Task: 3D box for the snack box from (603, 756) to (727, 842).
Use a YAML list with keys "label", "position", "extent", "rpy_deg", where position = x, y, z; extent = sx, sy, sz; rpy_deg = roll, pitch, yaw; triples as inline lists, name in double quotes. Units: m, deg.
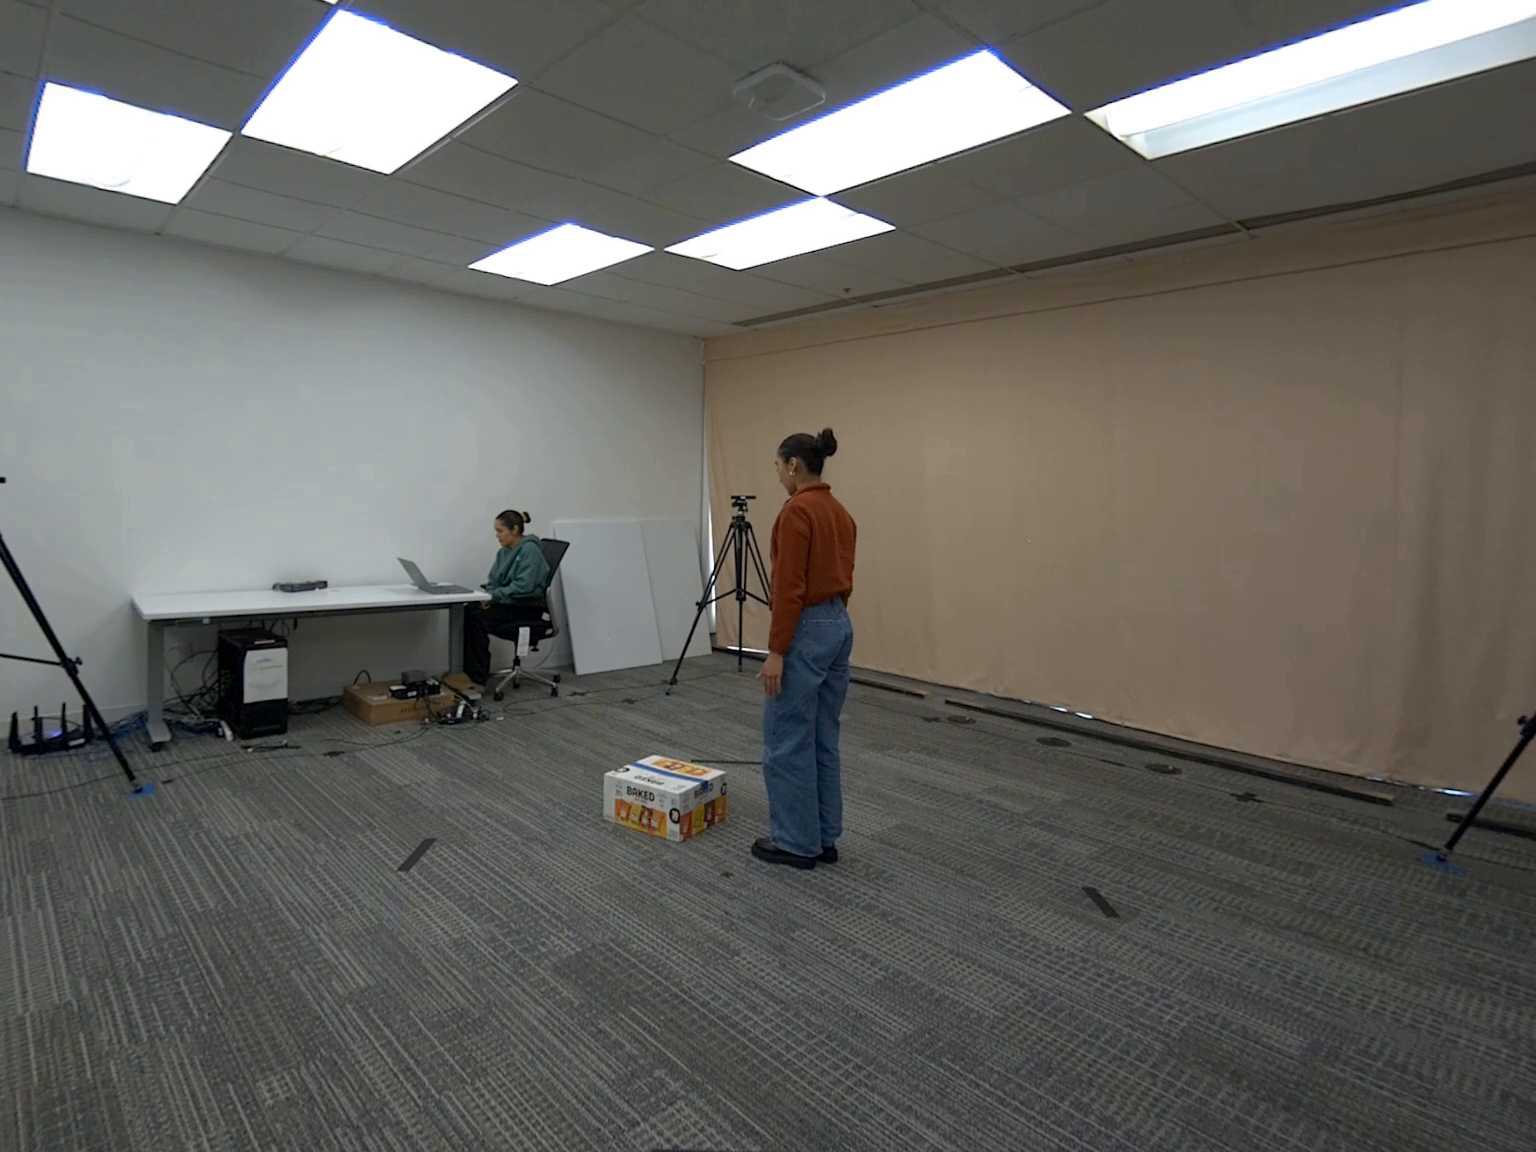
- label: "snack box"
  position: [-0.444, 0.944, 3.622]
  extent: [0.414, 0.205, 0.333]
  rpy_deg: [4, 5, 32]
